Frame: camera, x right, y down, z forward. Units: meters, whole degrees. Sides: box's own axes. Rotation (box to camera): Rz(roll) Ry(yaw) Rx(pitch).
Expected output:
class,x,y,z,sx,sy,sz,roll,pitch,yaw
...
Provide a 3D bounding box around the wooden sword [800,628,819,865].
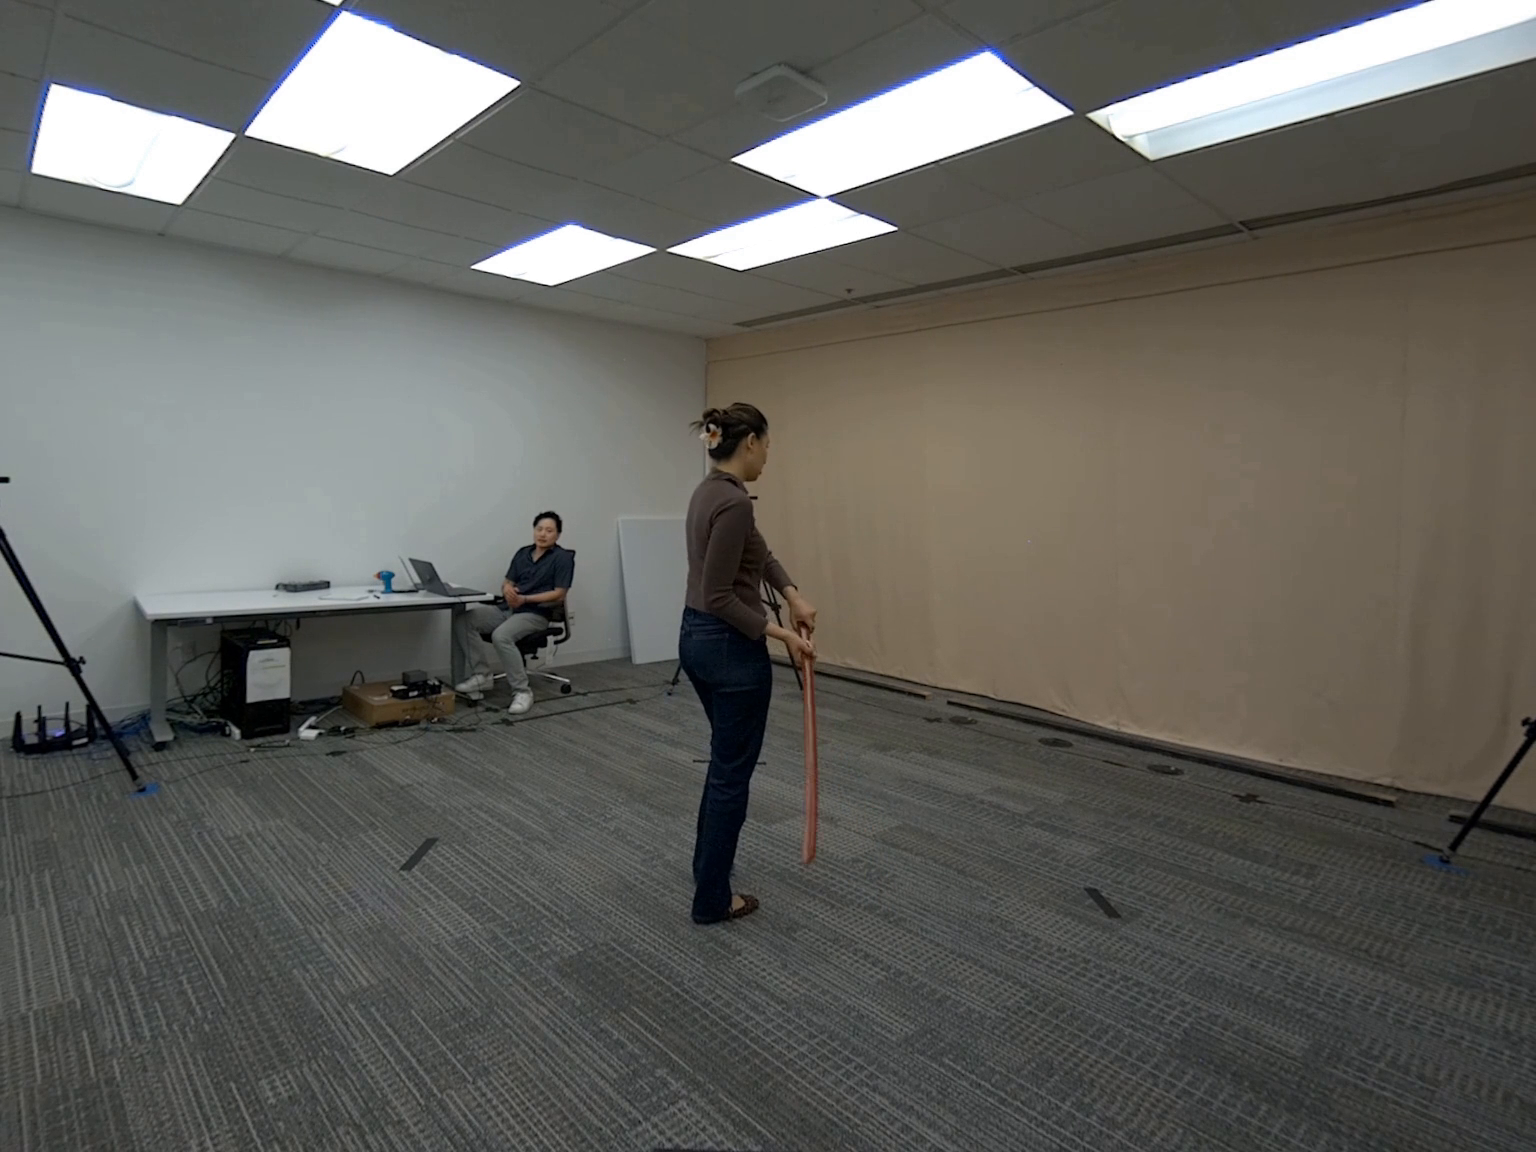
class,x,y,z,sx,sy,sz,roll,pitch,yaw
wooden sword,0.117,0.394,2.353,0.051,0.024,1.040,24,30,-9
